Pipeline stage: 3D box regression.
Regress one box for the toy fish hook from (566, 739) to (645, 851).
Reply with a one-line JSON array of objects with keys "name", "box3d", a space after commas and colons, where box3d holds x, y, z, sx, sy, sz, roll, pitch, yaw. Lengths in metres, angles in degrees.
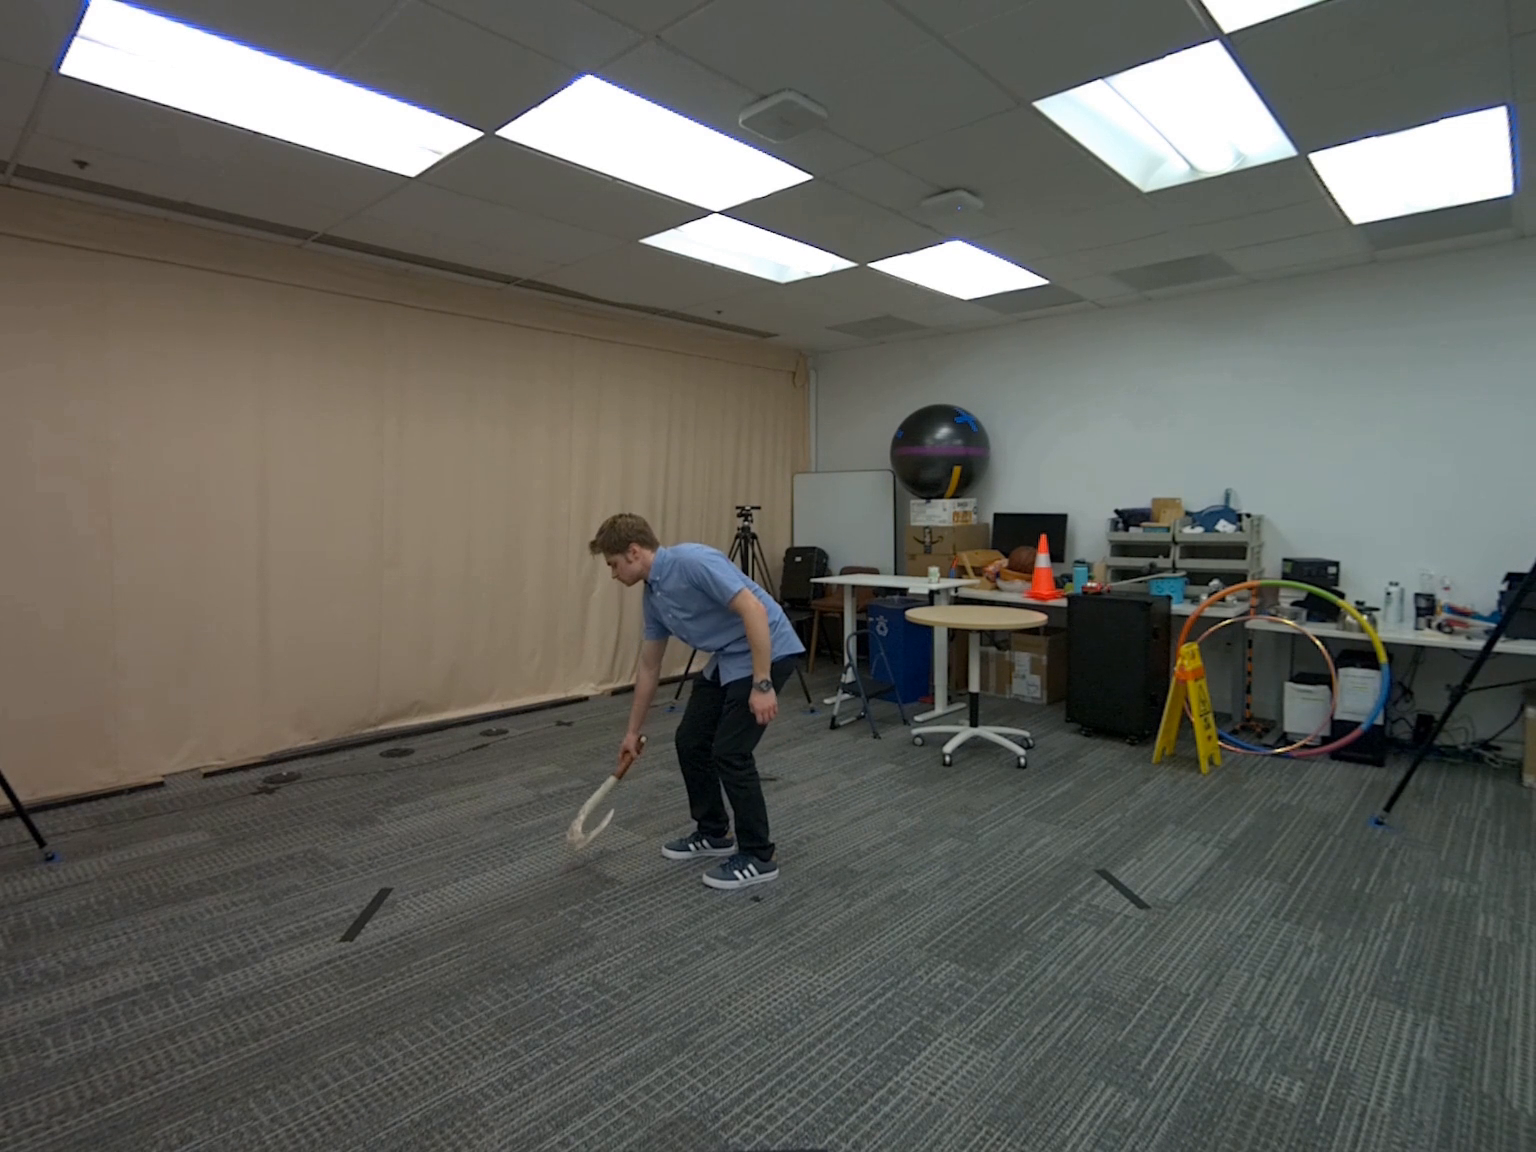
[{"name": "toy fish hook", "box3d": [-0.602, 0.836, 3.262, 0.232, 0.505, 0.047, 4, -37, 53]}]
